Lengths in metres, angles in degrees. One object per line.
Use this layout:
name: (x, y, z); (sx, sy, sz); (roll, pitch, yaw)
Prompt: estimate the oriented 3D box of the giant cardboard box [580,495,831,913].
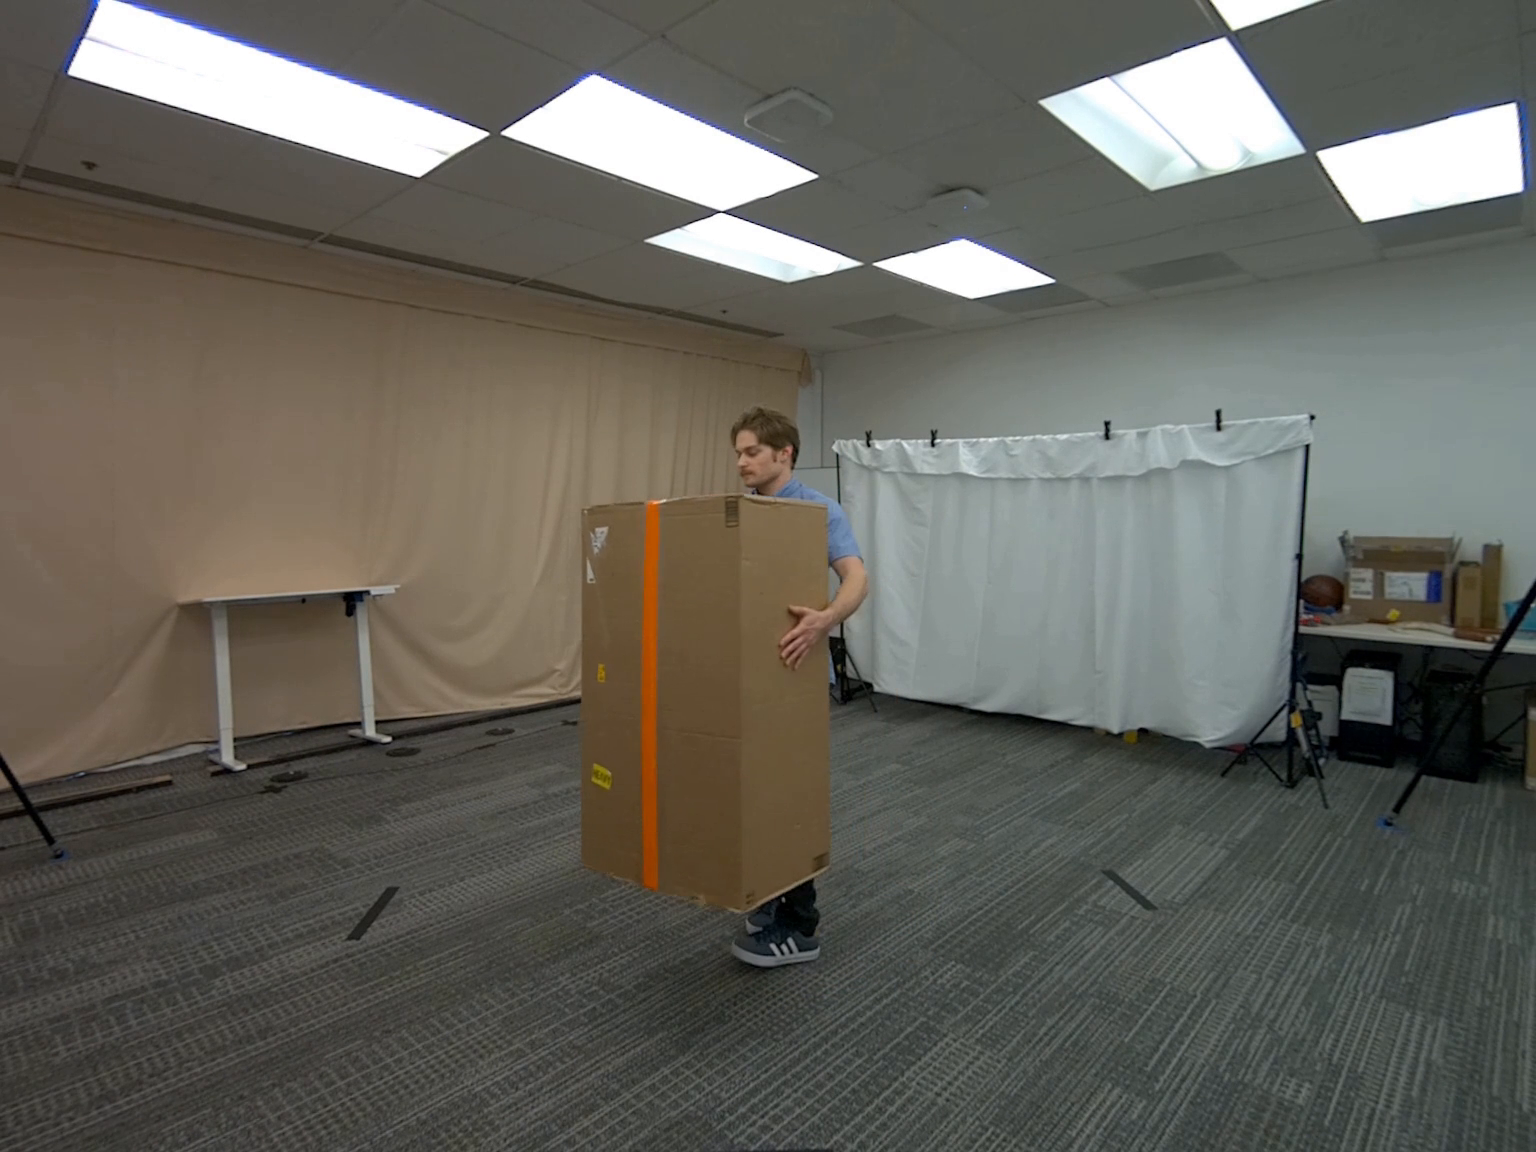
giant cardboard box: (-0.182, 0.311, 2.381); (0.595, 1.027, 0.412); (-2, -3, 38)
